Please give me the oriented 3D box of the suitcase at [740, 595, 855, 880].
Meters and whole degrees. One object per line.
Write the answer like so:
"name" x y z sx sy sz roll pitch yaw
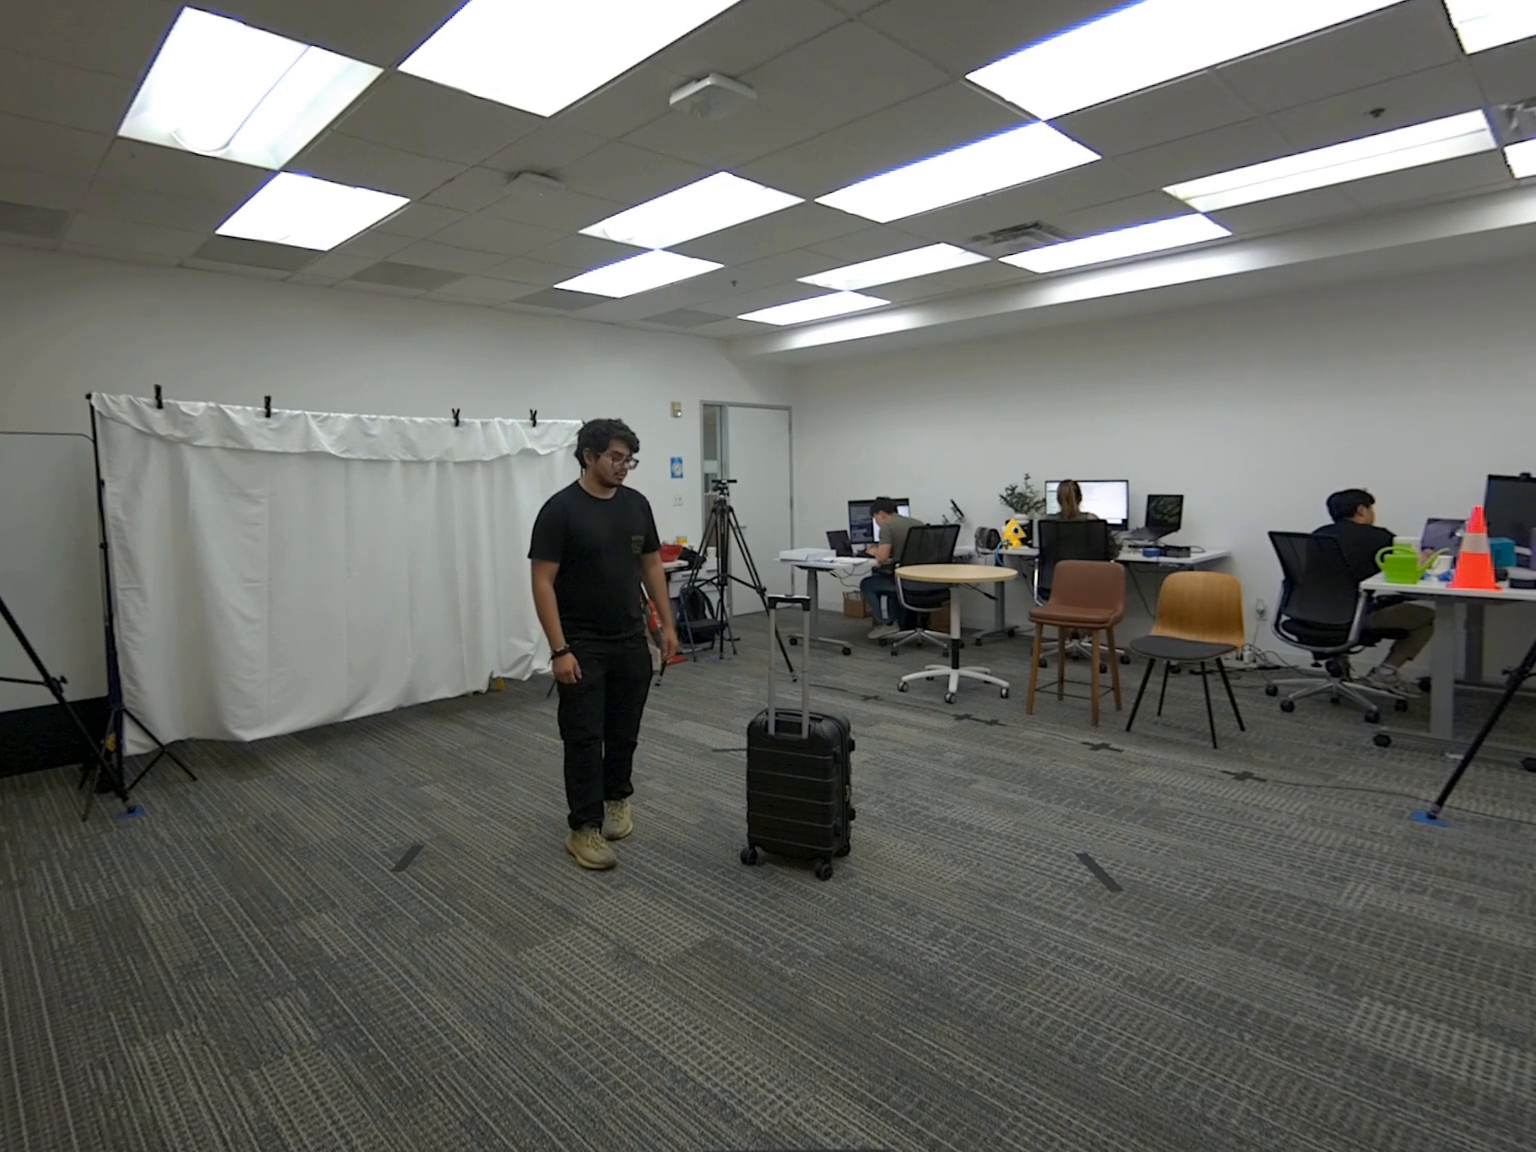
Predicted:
"suitcase" 0.112 0.563 3.143 0.392 0.978 0.251 1 0 24
